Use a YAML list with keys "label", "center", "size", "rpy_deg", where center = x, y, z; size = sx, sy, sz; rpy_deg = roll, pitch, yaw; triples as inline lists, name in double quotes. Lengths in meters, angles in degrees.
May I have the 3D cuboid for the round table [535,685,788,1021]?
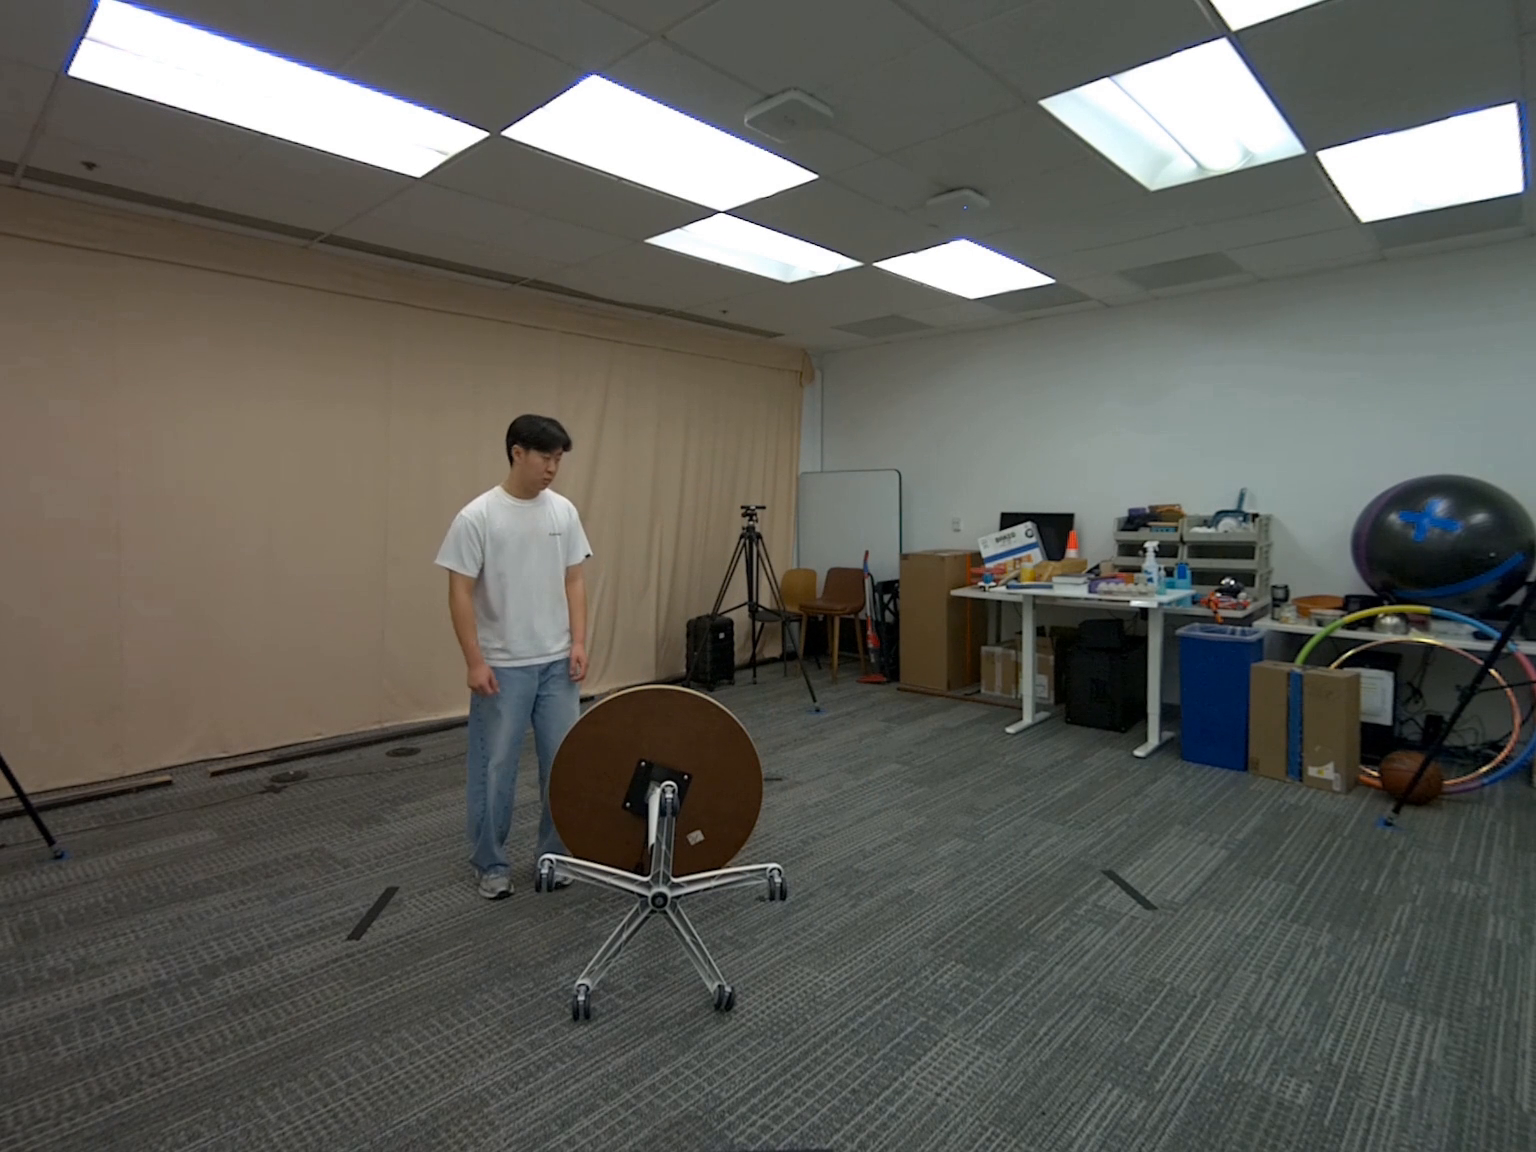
- label: "round table"
  center: [-0.336, 0.830, 2.632]
  size: [0.779, 0.780, 0.797]
  rpy_deg: [-1, 9, -8]
